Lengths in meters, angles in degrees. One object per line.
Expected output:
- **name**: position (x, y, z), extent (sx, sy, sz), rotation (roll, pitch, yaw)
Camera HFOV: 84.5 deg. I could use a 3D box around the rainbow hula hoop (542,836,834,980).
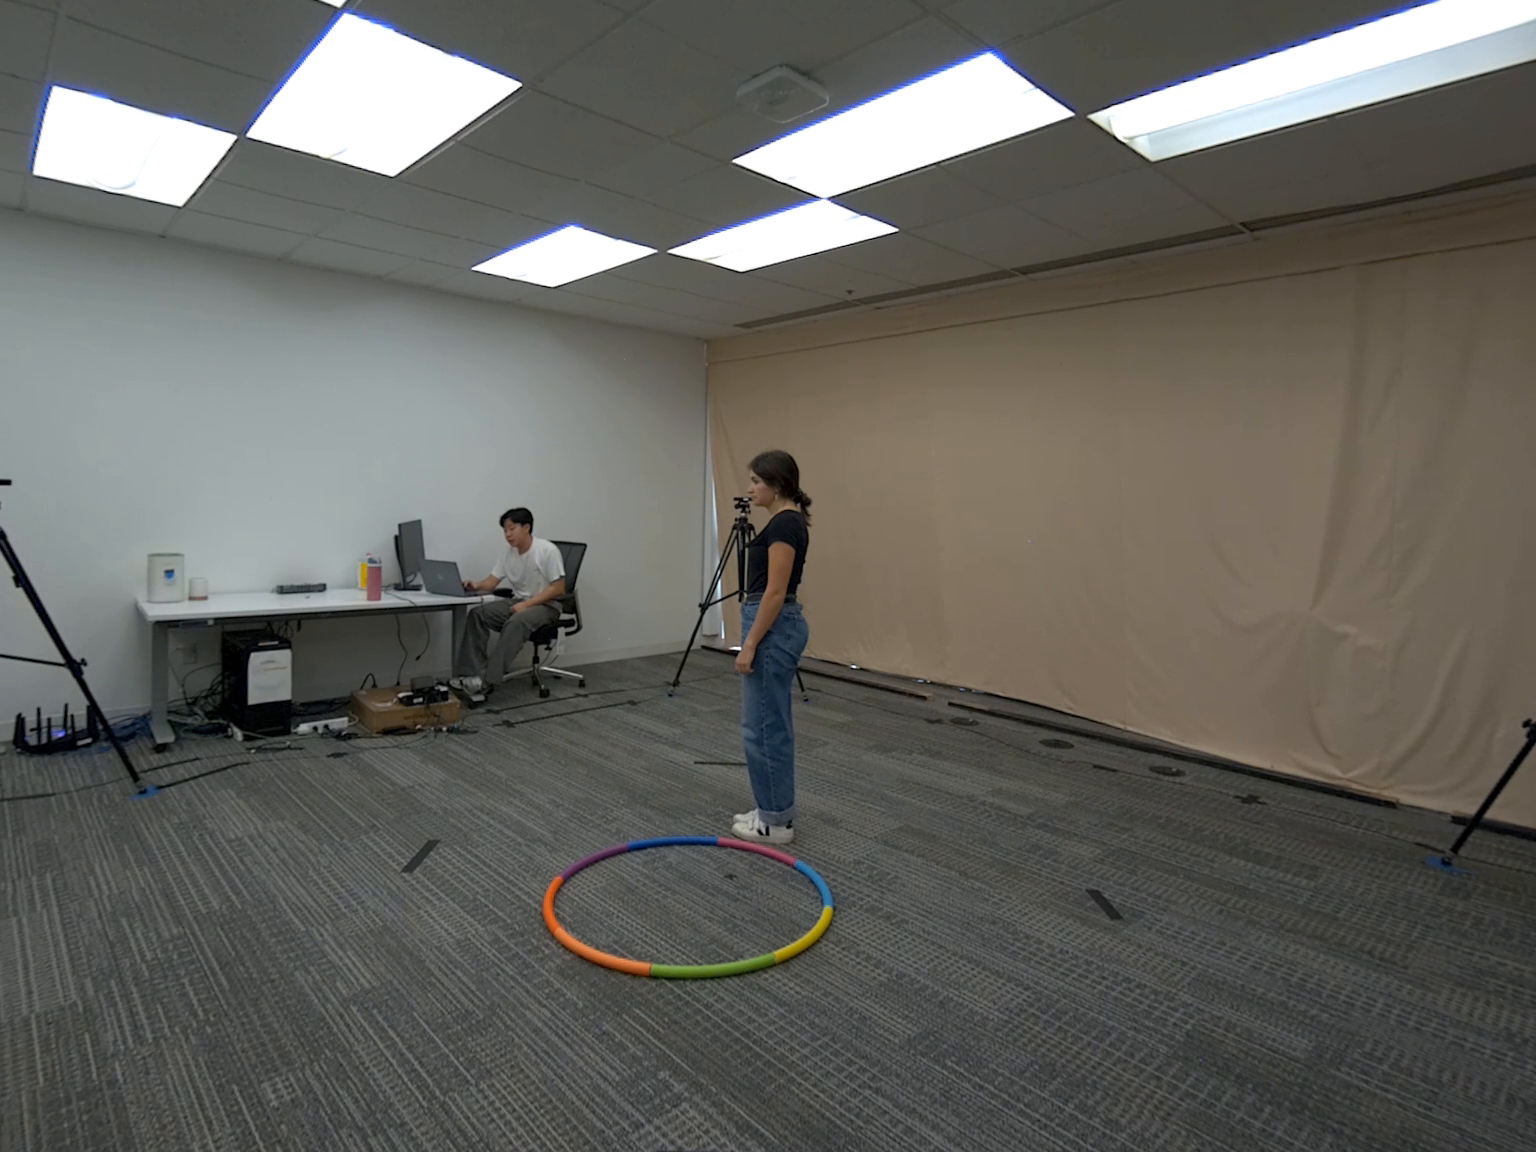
- **rainbow hula hoop**: position (-0.271, 1.095, 2.906), extent (0.978, 0.035, 0.982), rotation (1, 5, -1)
